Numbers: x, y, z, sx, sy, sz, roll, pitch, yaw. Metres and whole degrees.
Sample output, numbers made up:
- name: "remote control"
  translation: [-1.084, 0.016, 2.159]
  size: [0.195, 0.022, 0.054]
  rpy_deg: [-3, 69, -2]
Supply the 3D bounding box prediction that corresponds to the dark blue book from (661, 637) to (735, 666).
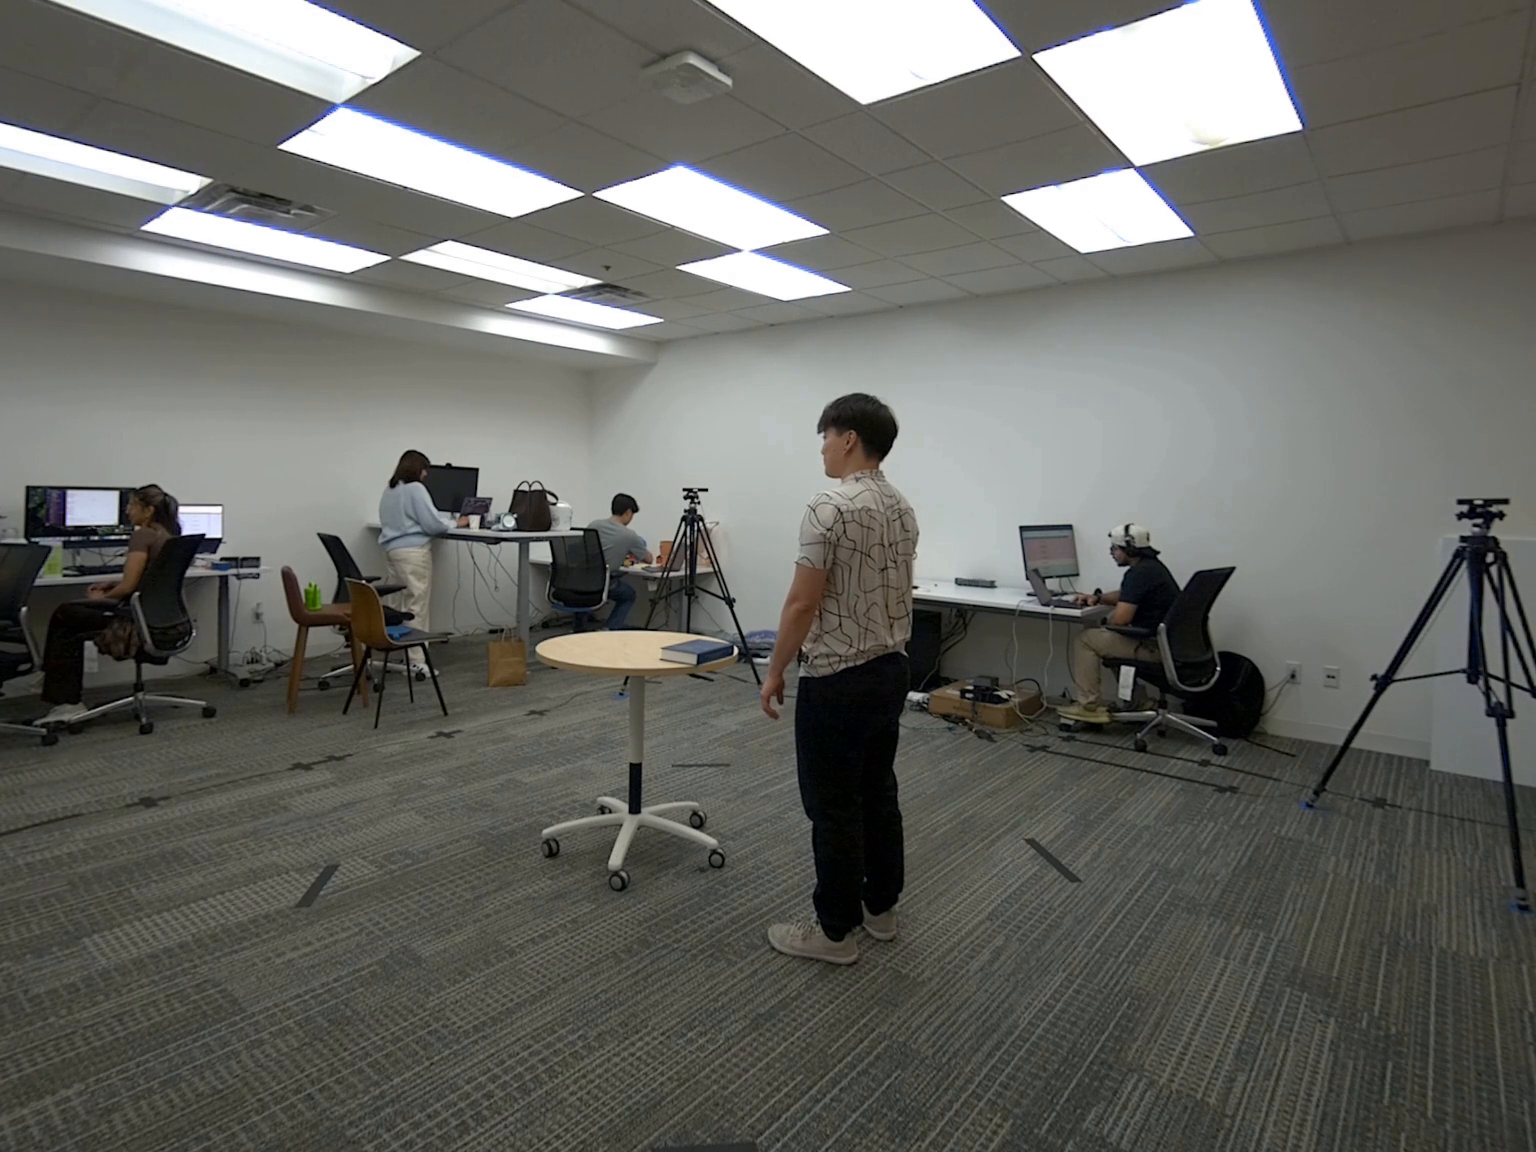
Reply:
- name: "dark blue book"
  translation: [-0.265, 0.272, 3.077]
  size: [0.168, 0.045, 0.239]
  rpy_deg: [5, 7, 30]
